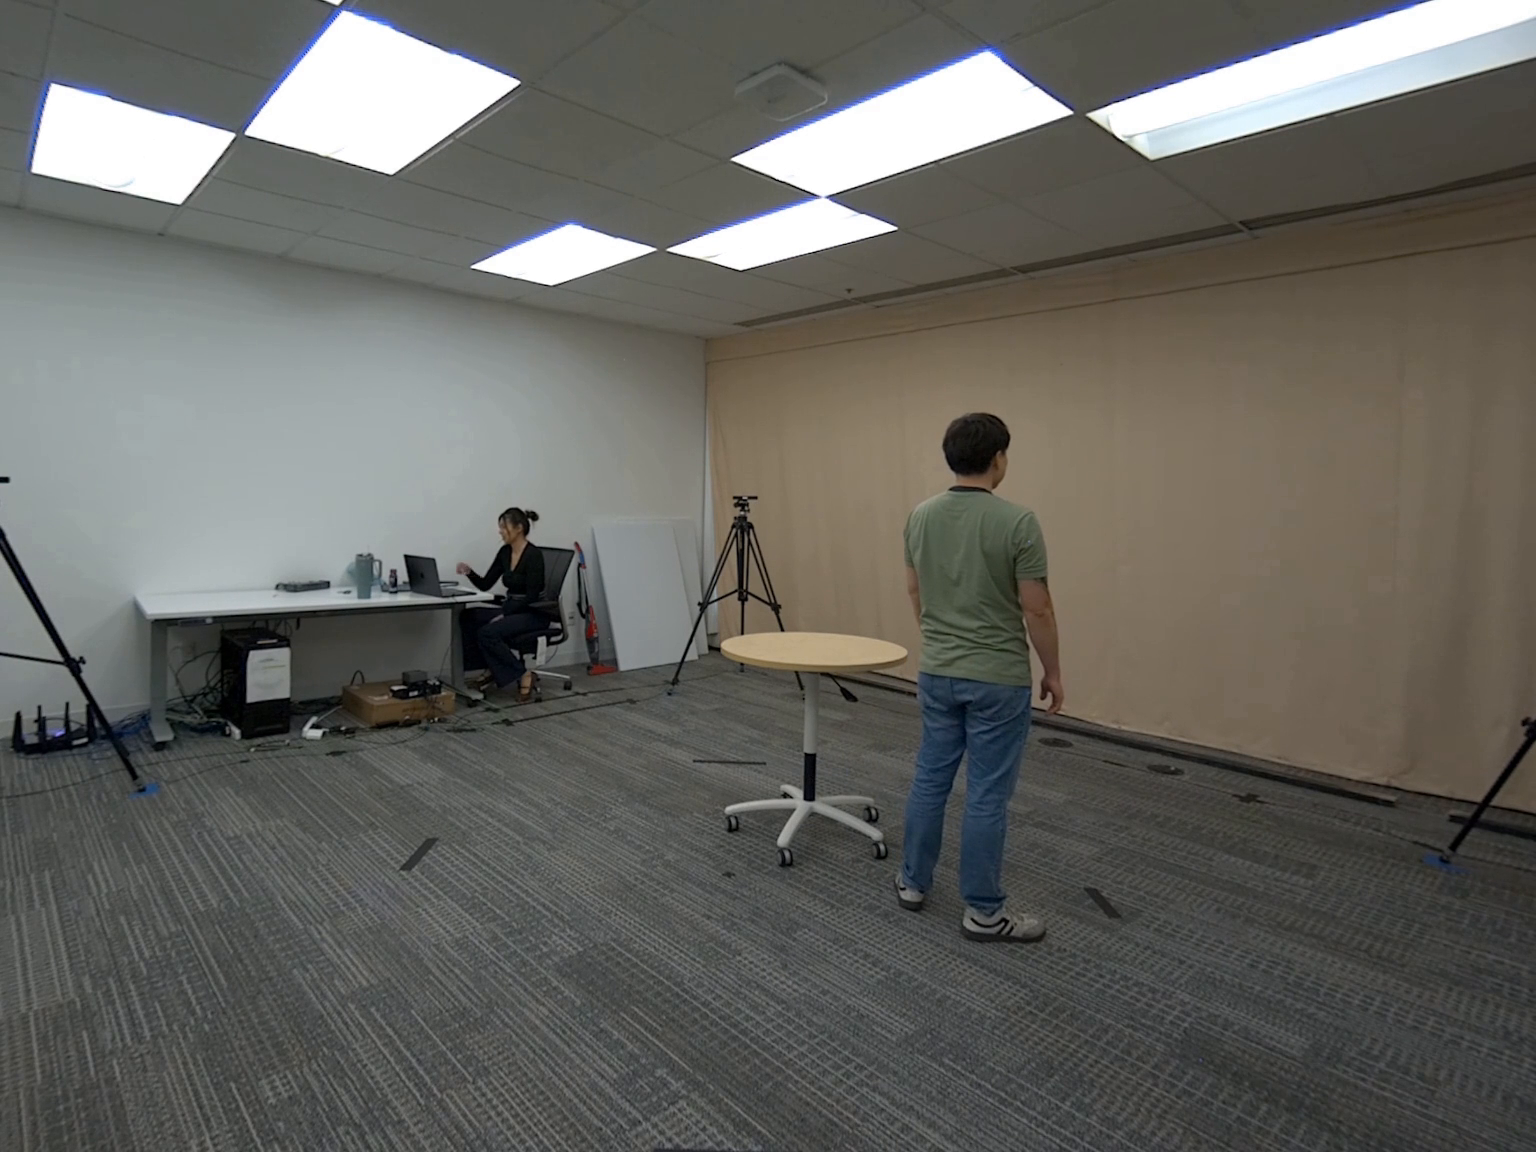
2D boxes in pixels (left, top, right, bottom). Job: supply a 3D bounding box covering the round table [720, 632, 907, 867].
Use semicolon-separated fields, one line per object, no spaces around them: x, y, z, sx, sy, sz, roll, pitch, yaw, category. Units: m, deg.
0.173;0.688;3.499;0.763;0.792;0.766;1;4;-1;round table
